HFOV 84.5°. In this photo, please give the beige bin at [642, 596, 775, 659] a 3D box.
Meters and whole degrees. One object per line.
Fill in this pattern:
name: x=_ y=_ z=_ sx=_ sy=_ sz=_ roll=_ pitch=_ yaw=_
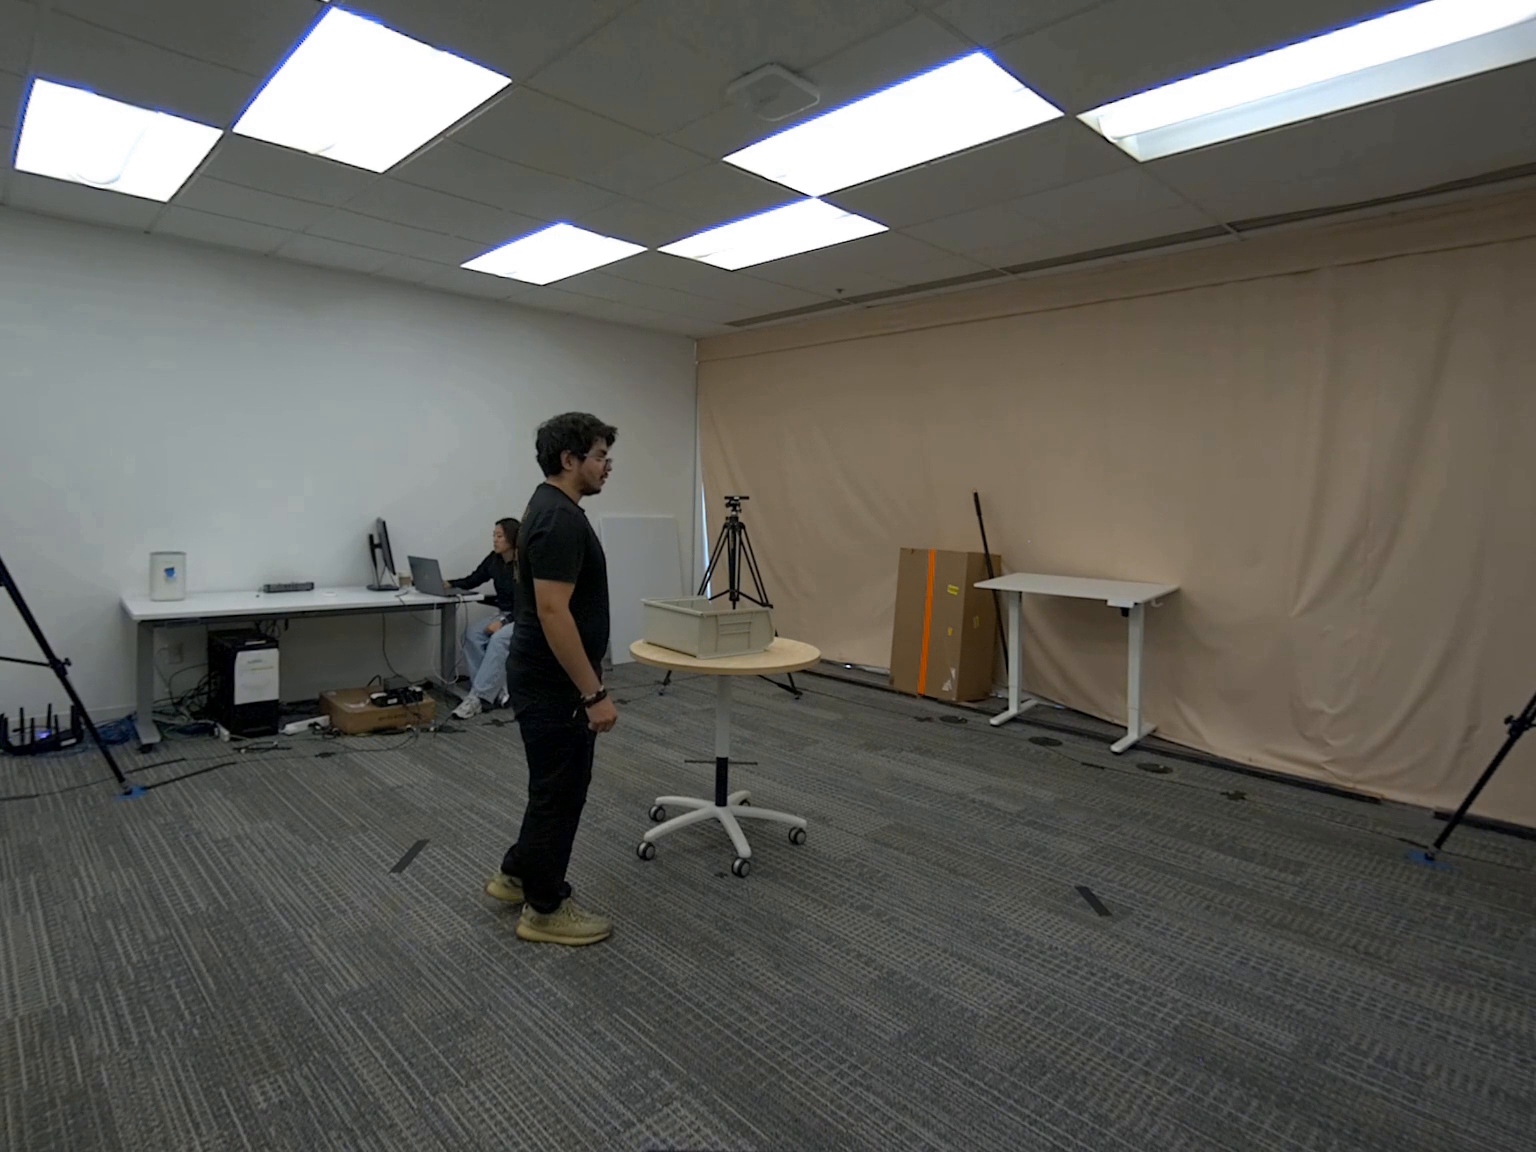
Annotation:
beige bin: x=-0.254 y=0.202 z=3.411 sx=0.369 sy=0.188 sz=0.433 roll=-3 pitch=8 yaw=-39
